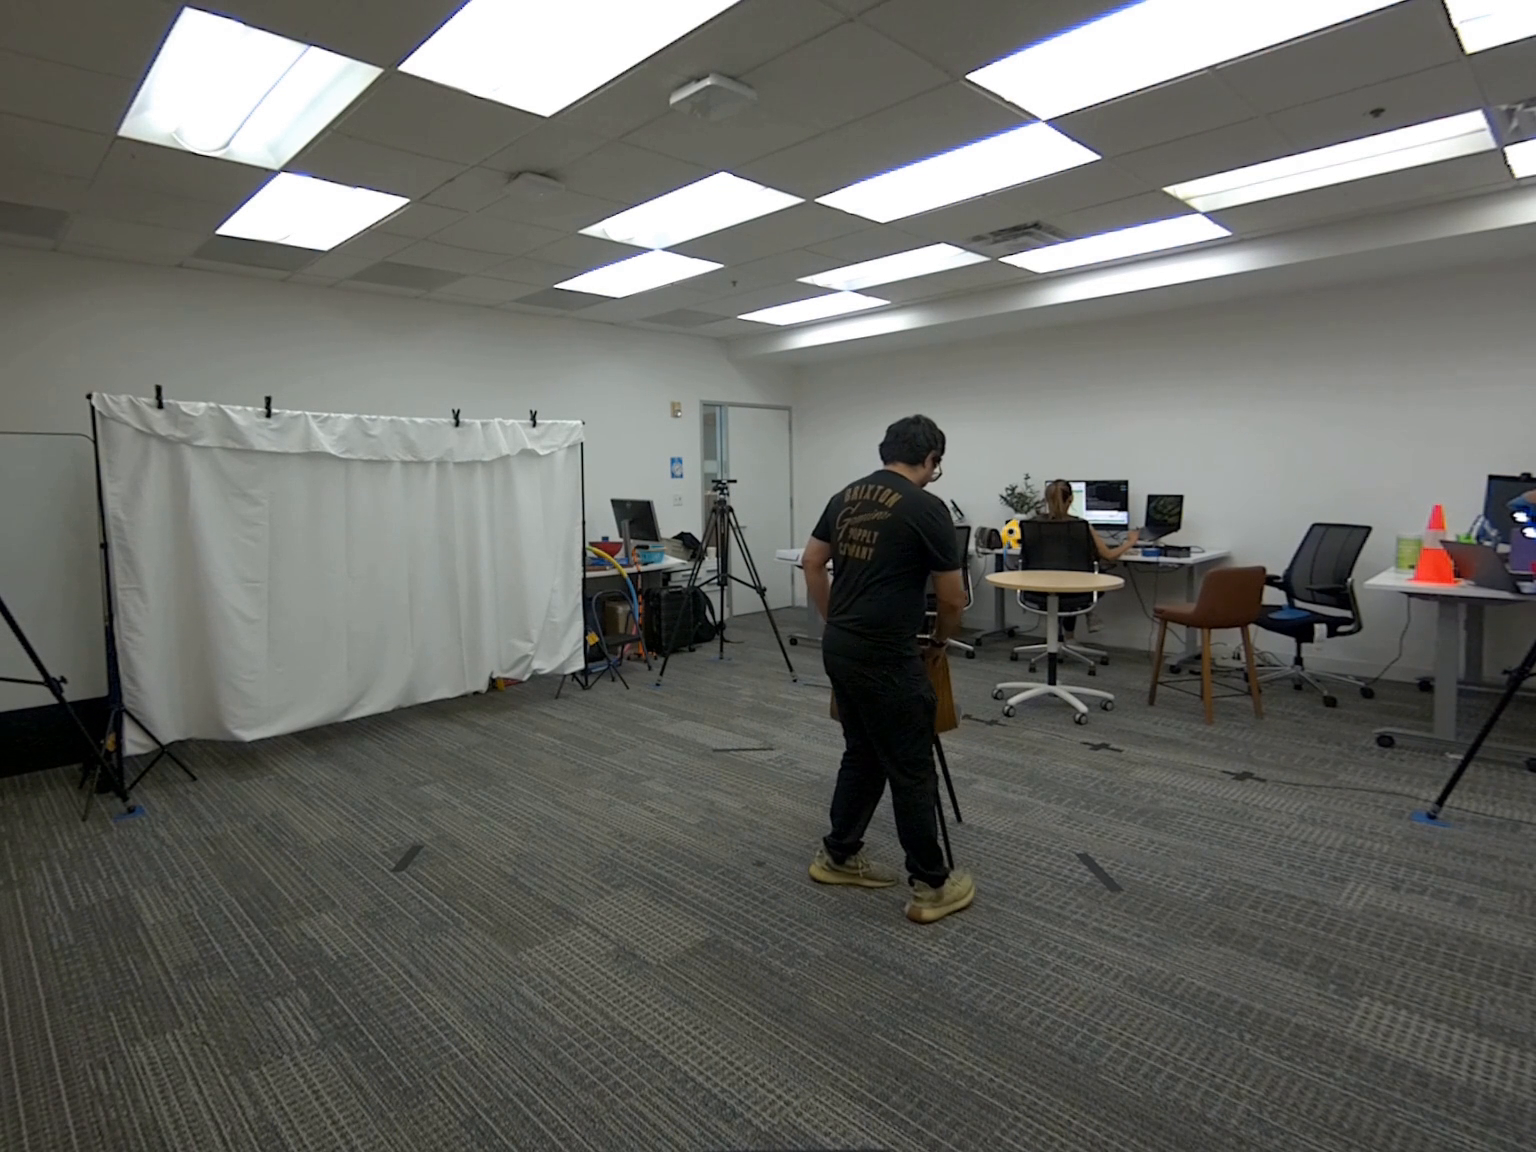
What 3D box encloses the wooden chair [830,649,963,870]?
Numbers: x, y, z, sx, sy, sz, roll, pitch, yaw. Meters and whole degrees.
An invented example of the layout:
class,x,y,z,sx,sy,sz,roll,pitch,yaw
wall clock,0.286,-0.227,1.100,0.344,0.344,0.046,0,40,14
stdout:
class,x,y,z,sx,sy,sz,roll,pitch,yaw
wooden chair,0.502,0.591,3.300,0.487,0.871,0.518,0,8,18
